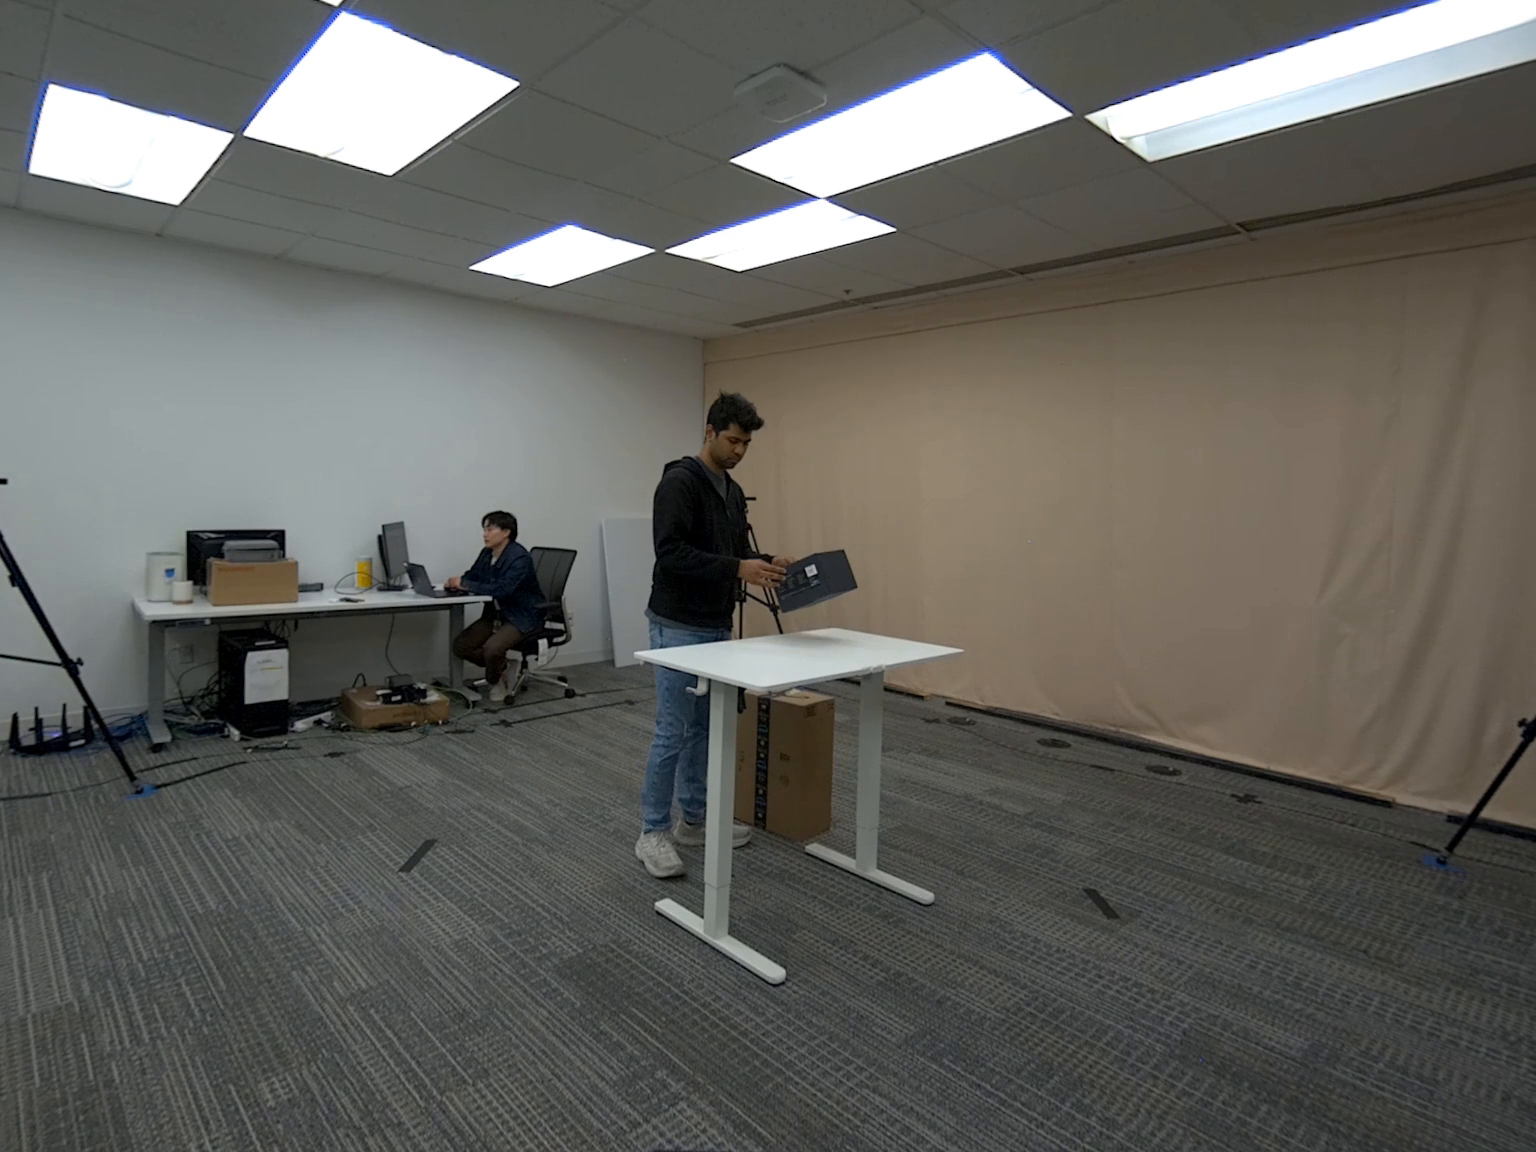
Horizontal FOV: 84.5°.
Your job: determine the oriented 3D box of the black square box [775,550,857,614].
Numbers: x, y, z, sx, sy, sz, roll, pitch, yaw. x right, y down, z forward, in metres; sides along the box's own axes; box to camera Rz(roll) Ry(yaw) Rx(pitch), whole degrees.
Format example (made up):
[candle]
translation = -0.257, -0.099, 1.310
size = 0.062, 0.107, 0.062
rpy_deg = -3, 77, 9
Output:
[black square box]
translation = 0.156, 0.018, 3.090
size = 0.219, 0.157, 0.224
rpy_deg = -23, -7, 30
